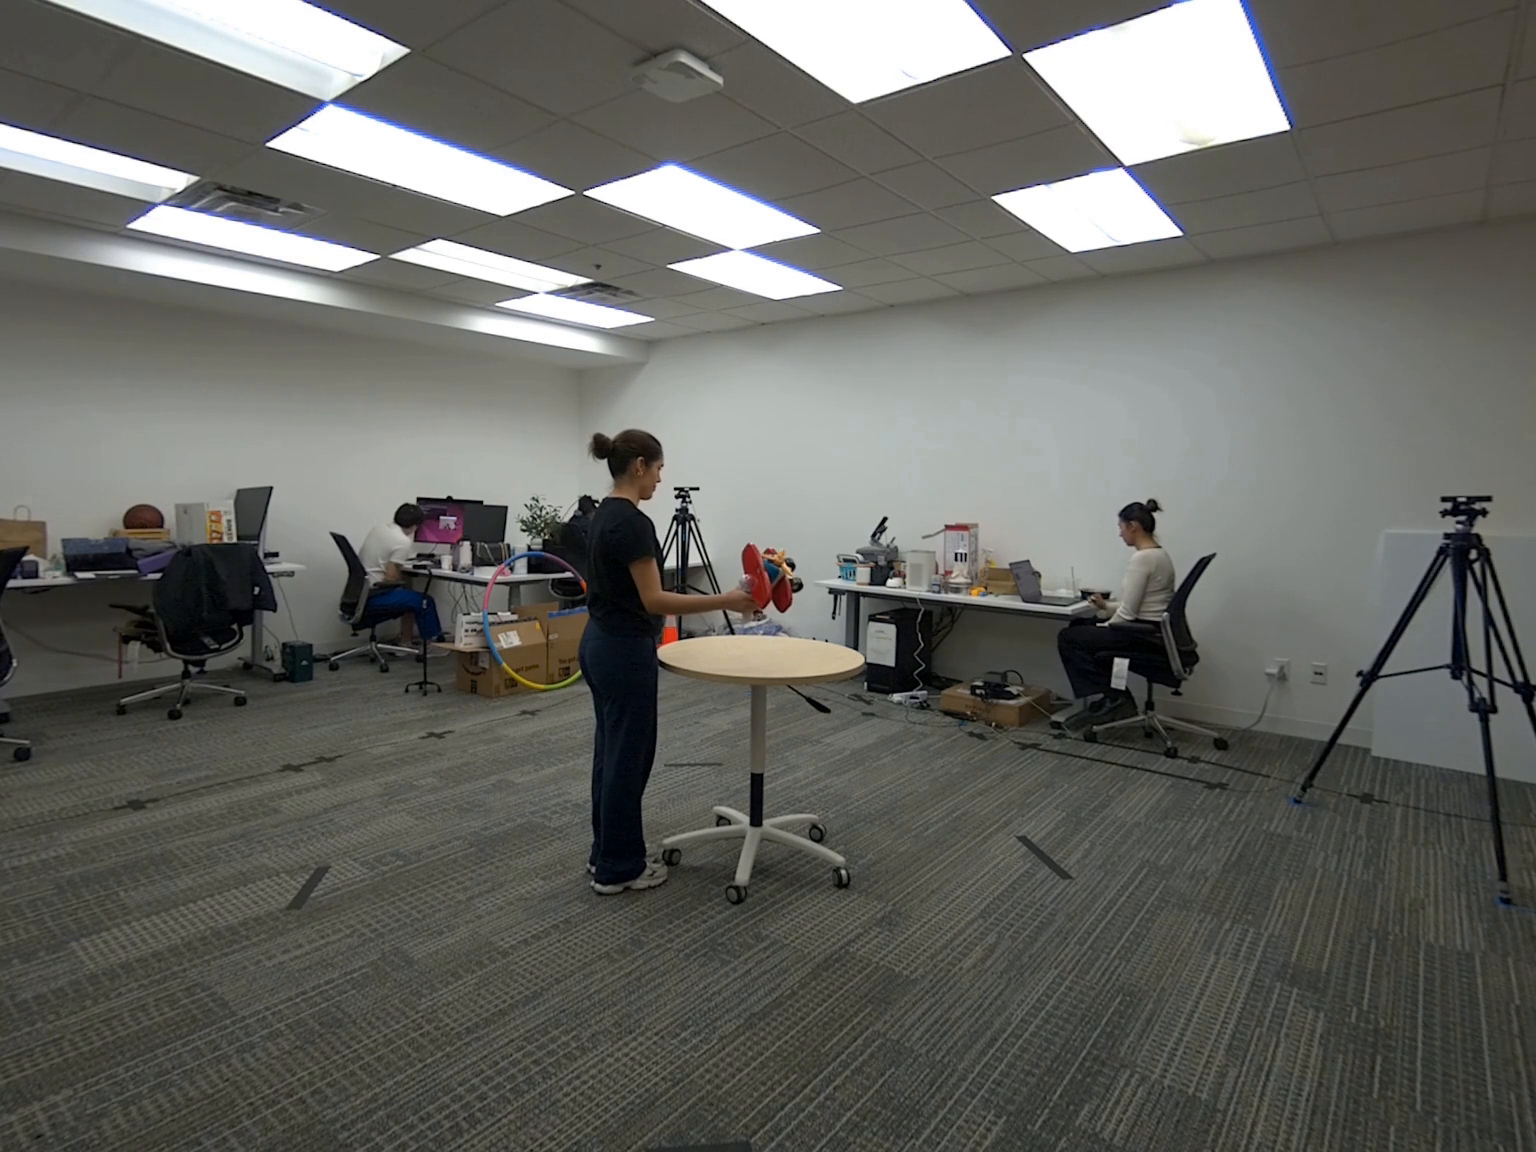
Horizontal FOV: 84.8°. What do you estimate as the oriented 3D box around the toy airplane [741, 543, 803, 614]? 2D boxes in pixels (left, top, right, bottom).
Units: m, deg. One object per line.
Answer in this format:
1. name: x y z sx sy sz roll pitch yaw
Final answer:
1. toy airplane: 0.002 0.037 2.771 0.150 0.259 0.261 27 3 -38
